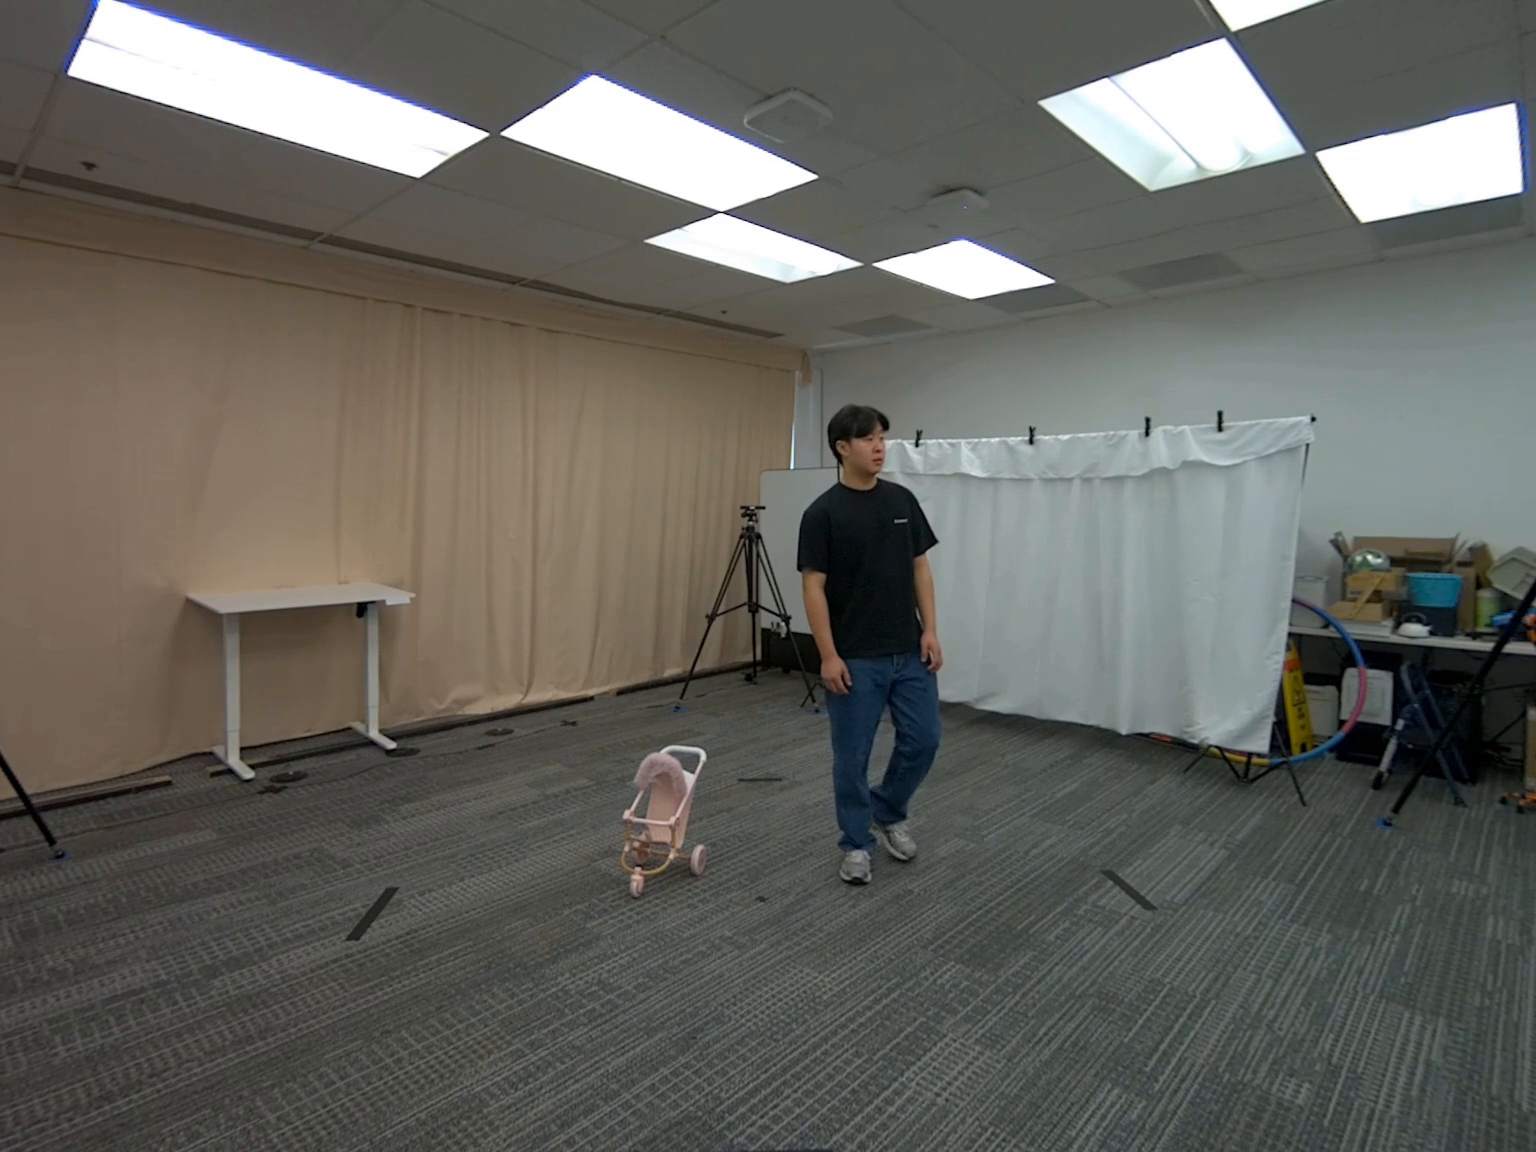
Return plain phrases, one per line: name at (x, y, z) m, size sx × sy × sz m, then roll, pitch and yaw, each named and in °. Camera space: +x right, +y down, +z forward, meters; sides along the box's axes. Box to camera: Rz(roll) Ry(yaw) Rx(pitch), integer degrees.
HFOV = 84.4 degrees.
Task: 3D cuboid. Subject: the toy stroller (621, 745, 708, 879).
toy stroller at (-0.403, 0.909, 3.171) m, size 0.289 × 0.538 × 0.330 m, roll 0°, pitch -14°, yaw 26°
